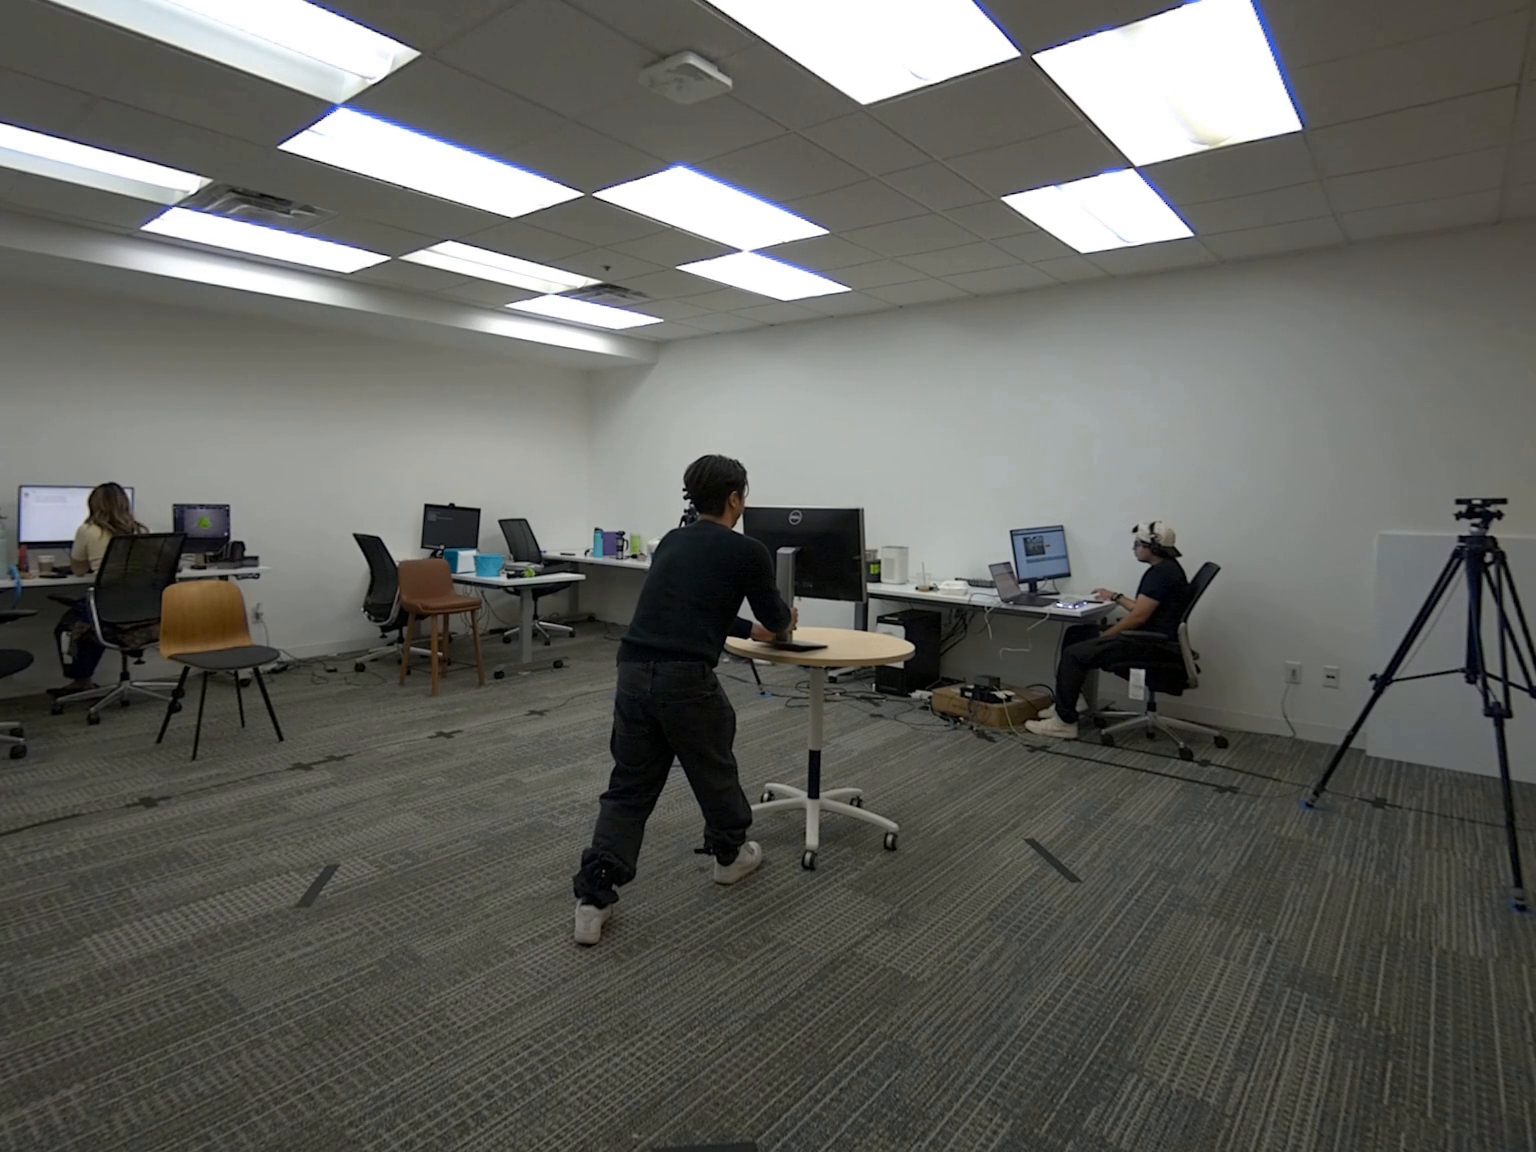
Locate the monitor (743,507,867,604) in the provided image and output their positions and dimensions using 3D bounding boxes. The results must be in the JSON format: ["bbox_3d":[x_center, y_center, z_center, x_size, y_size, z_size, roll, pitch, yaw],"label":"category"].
[{"bbox_3d":[0.097,-0.004,3.333,0.557,0.523,0.181,4,0,36],"label":"monitor"}]
